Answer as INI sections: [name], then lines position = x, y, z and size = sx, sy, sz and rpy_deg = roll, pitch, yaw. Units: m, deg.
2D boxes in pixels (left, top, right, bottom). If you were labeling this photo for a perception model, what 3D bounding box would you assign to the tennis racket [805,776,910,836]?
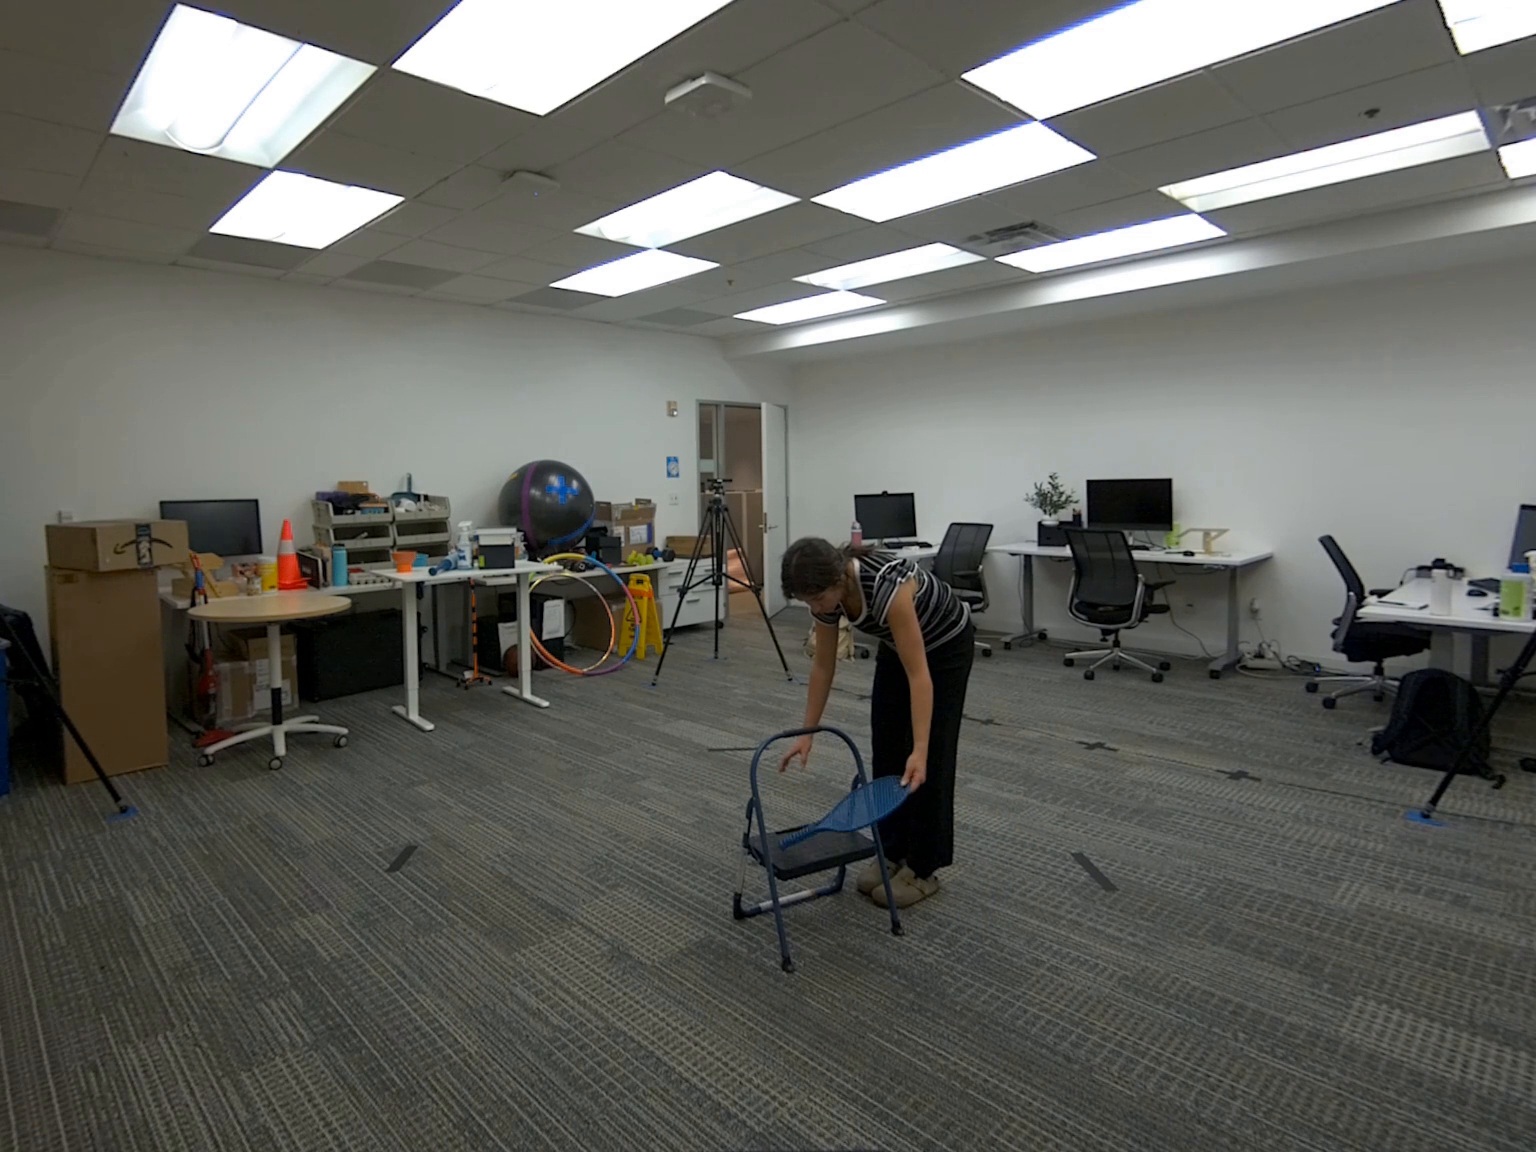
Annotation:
[tennis racket]
position = 0.234, 0.696, 2.487
size = 0.435, 0.031, 0.215
rpy_deg = -30, 10, 12
